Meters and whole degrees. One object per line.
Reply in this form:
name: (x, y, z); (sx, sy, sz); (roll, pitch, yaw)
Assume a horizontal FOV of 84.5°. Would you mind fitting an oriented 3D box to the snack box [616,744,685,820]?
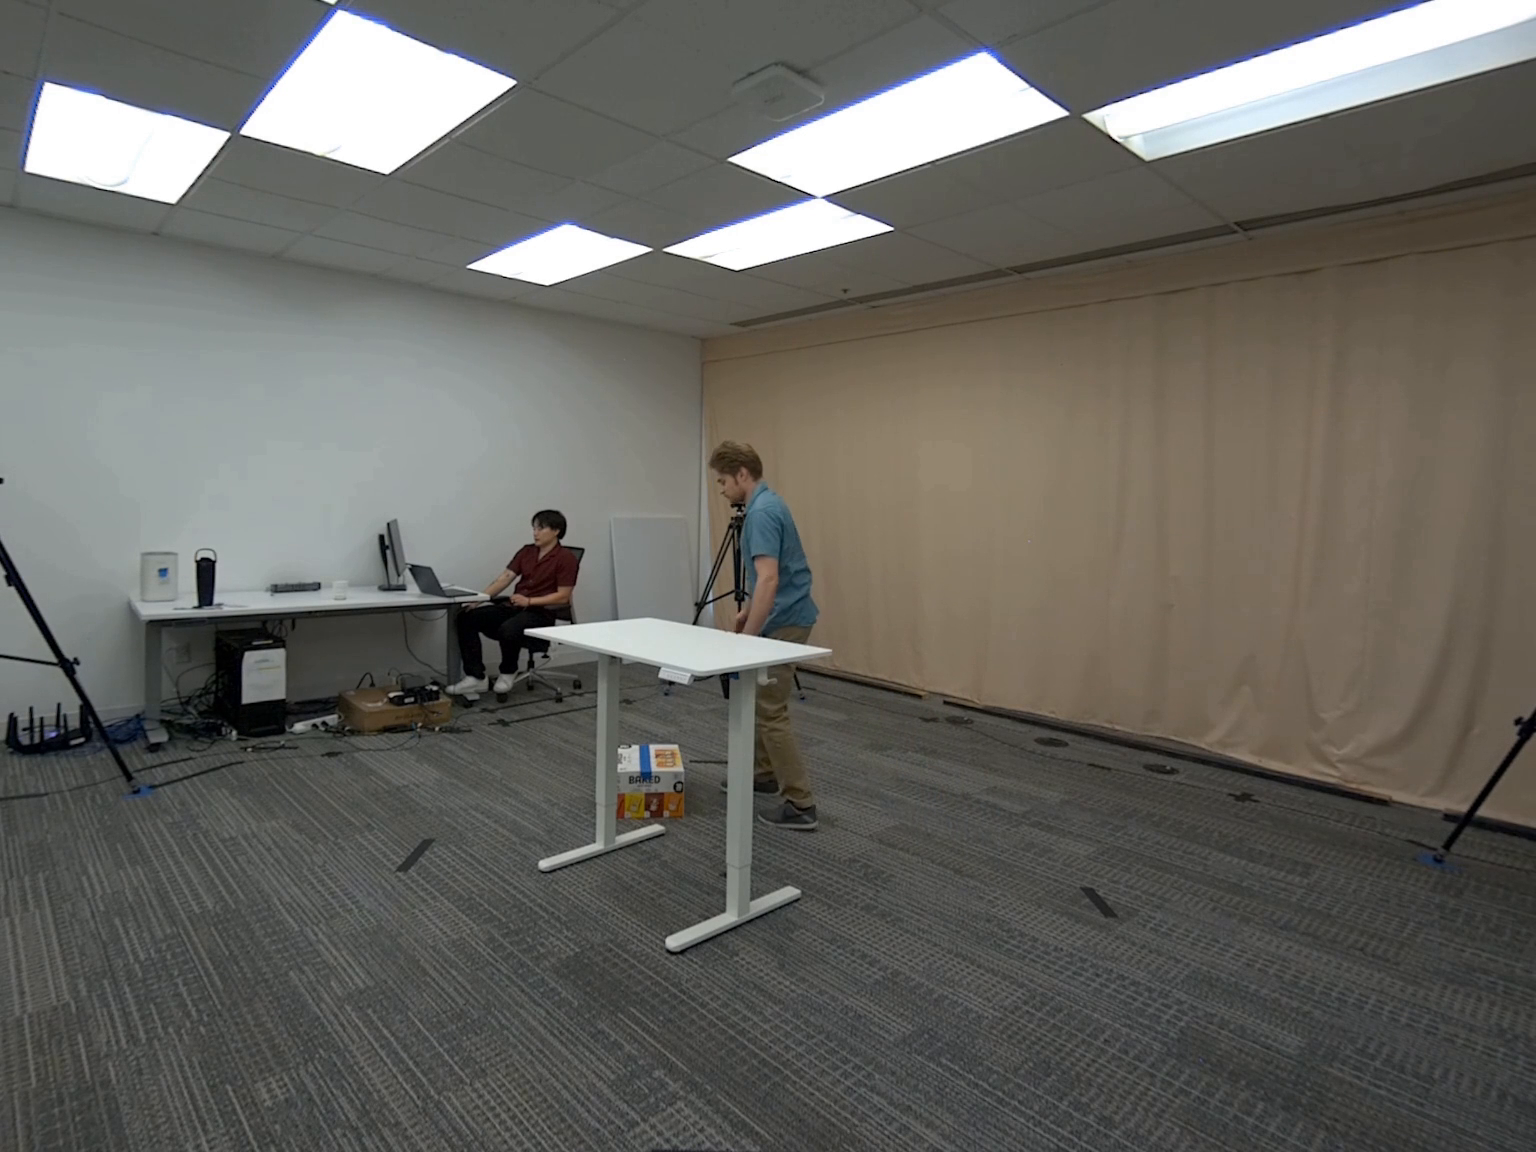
snack box: (-0.579, 0.930, 3.837); (0.338, 0.205, 0.409); (1, 5, -9)
